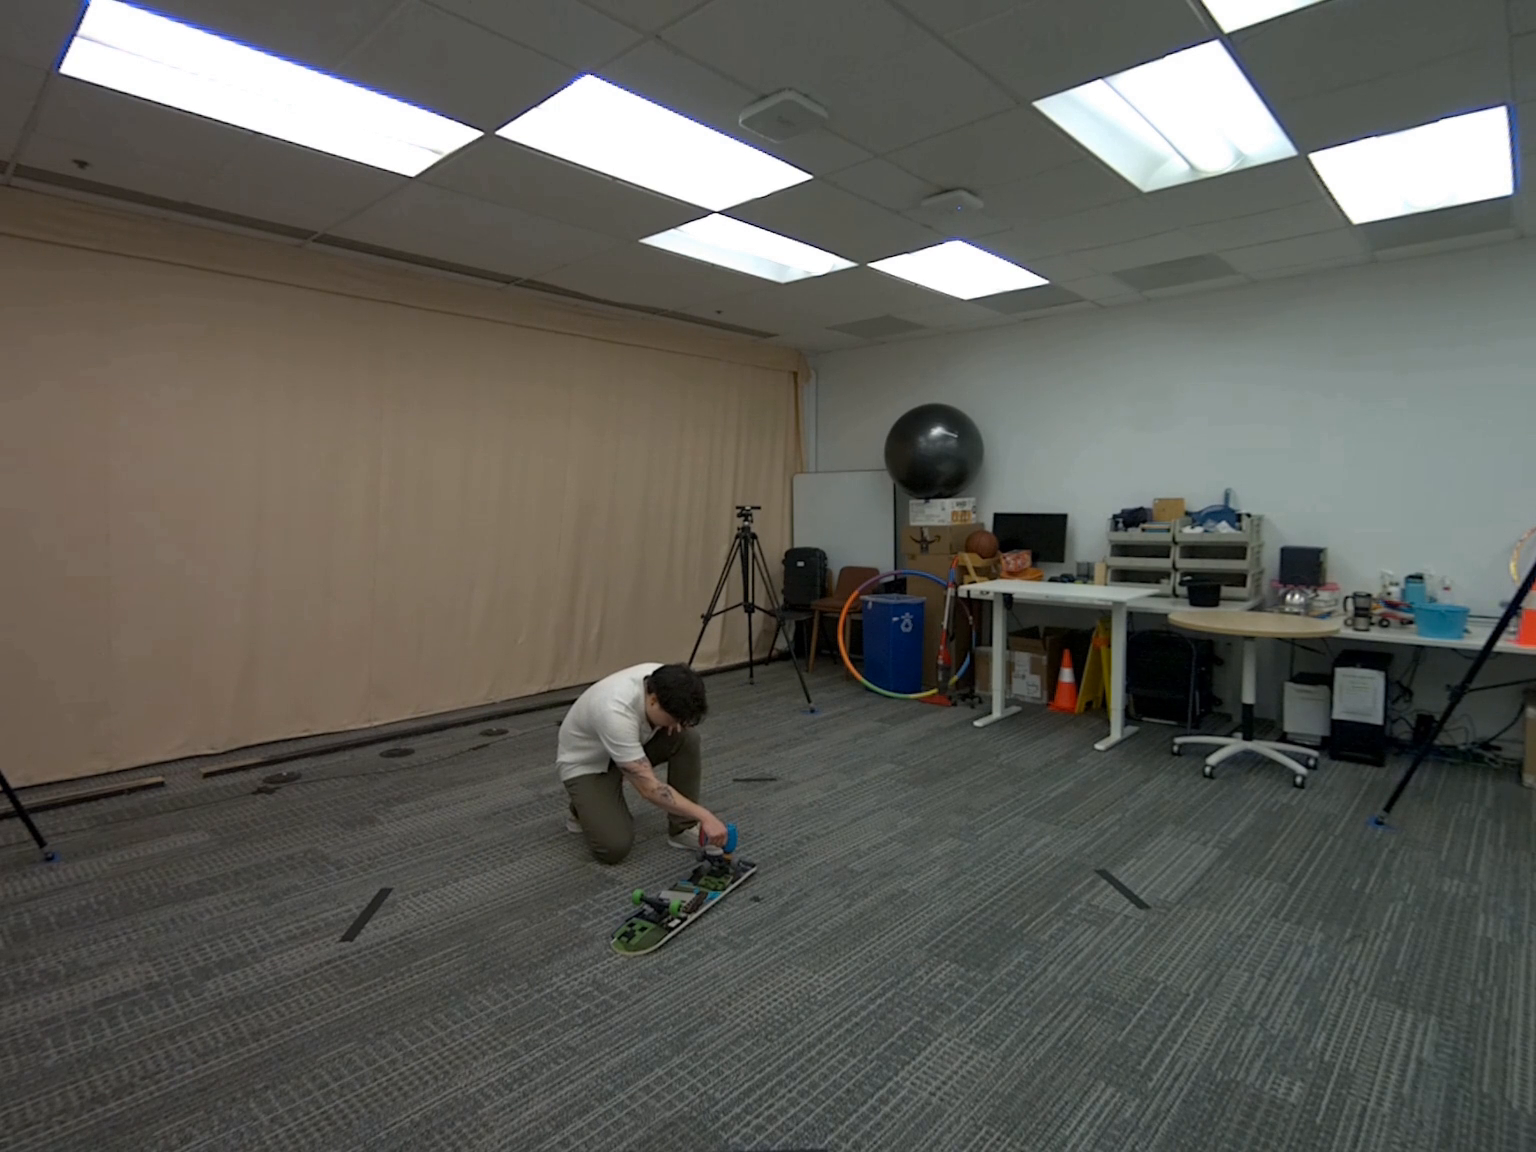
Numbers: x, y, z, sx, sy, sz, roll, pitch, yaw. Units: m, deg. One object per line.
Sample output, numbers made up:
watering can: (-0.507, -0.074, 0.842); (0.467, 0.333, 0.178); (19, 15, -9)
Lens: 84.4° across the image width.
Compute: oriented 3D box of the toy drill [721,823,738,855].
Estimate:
toy drill: (-0.181, 0.998, 3.120); (0.144, 0.169, 0.062); (4, 11, -13)
